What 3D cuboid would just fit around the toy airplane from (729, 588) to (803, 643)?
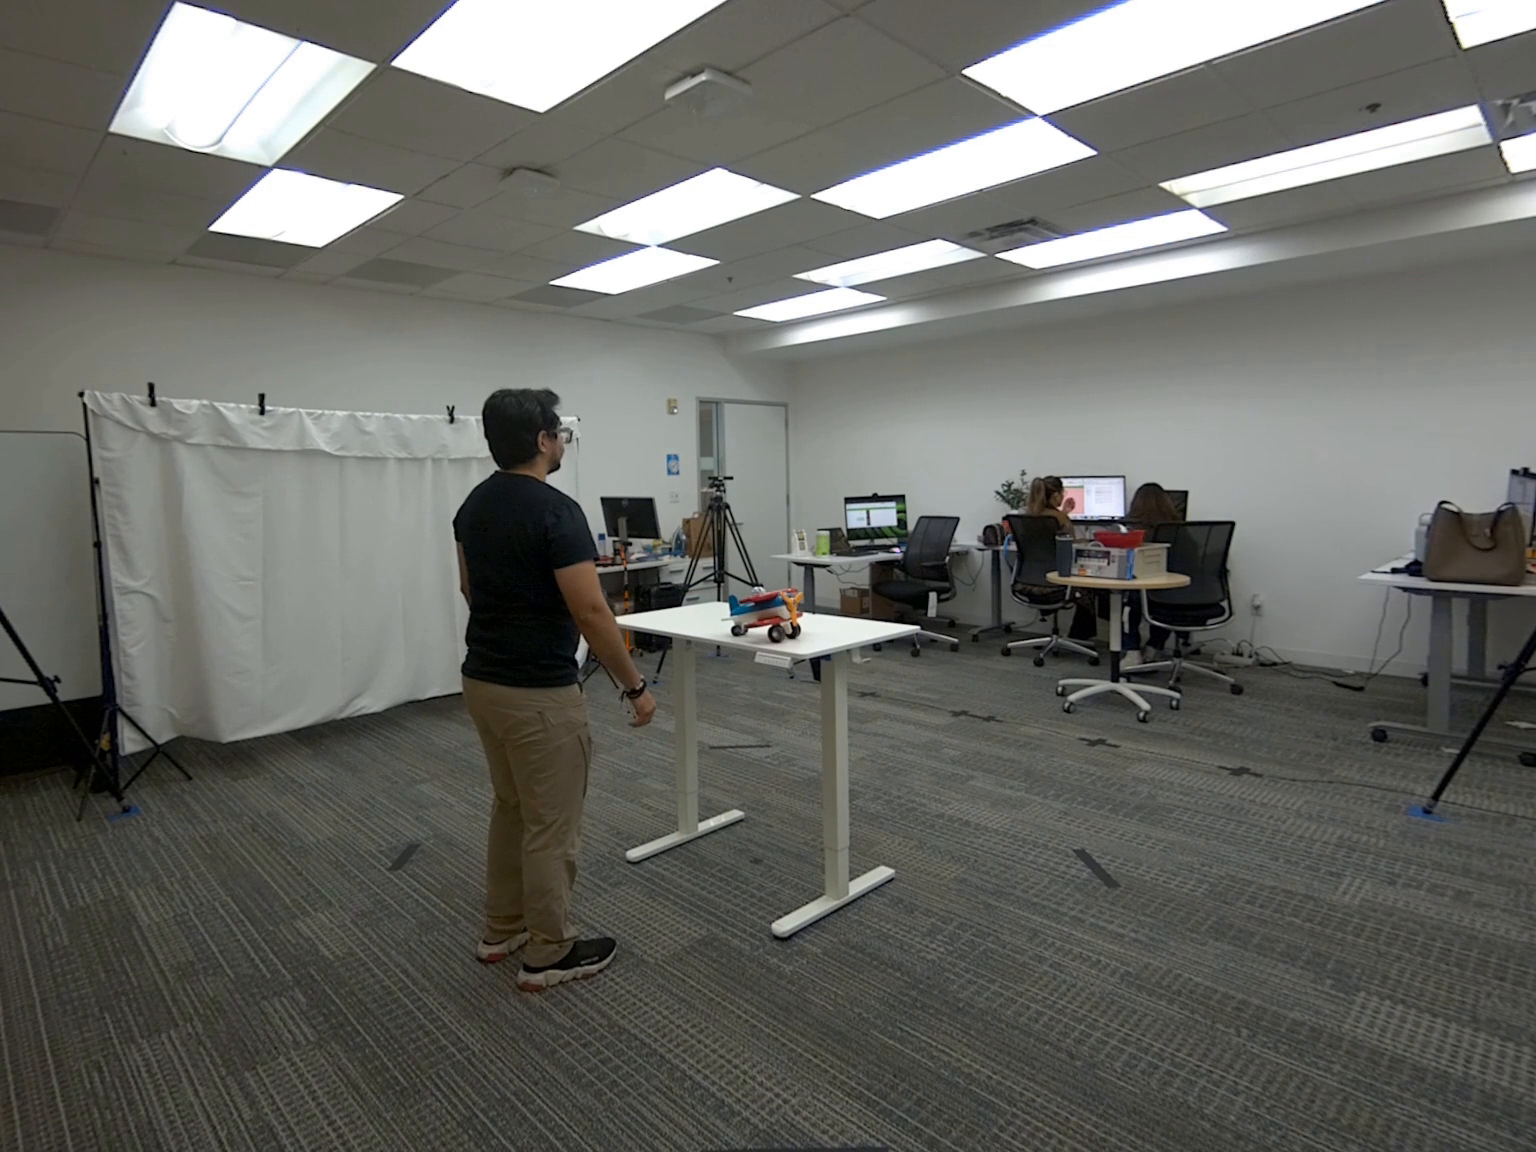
[{"bbox_3d":[-0.022,0.121,2.685,0.262,0.156,0.249,1,4,10],"label":"toy airplane"}]
